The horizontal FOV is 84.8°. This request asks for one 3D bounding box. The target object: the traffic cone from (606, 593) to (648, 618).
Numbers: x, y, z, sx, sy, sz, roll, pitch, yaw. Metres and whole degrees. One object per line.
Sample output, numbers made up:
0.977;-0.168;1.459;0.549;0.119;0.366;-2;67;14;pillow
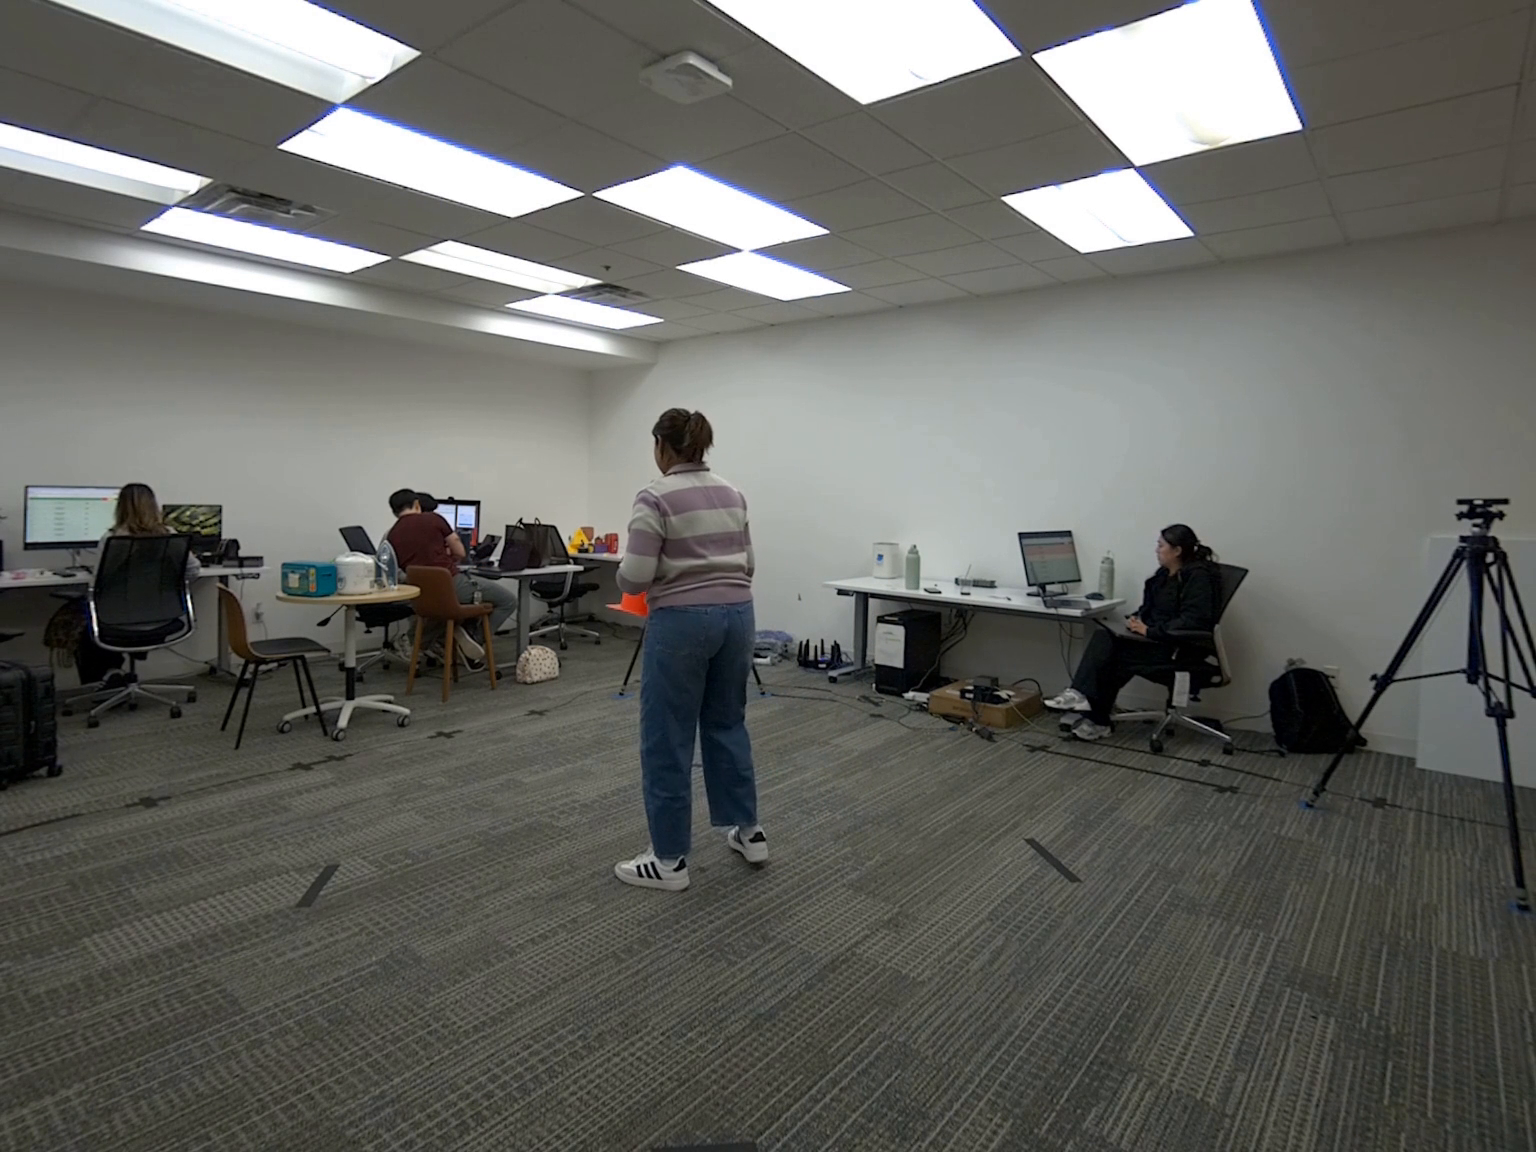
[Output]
-0.462;-0.062;3.232;0.210;0.383;0.198;10;3;34;traffic cone
